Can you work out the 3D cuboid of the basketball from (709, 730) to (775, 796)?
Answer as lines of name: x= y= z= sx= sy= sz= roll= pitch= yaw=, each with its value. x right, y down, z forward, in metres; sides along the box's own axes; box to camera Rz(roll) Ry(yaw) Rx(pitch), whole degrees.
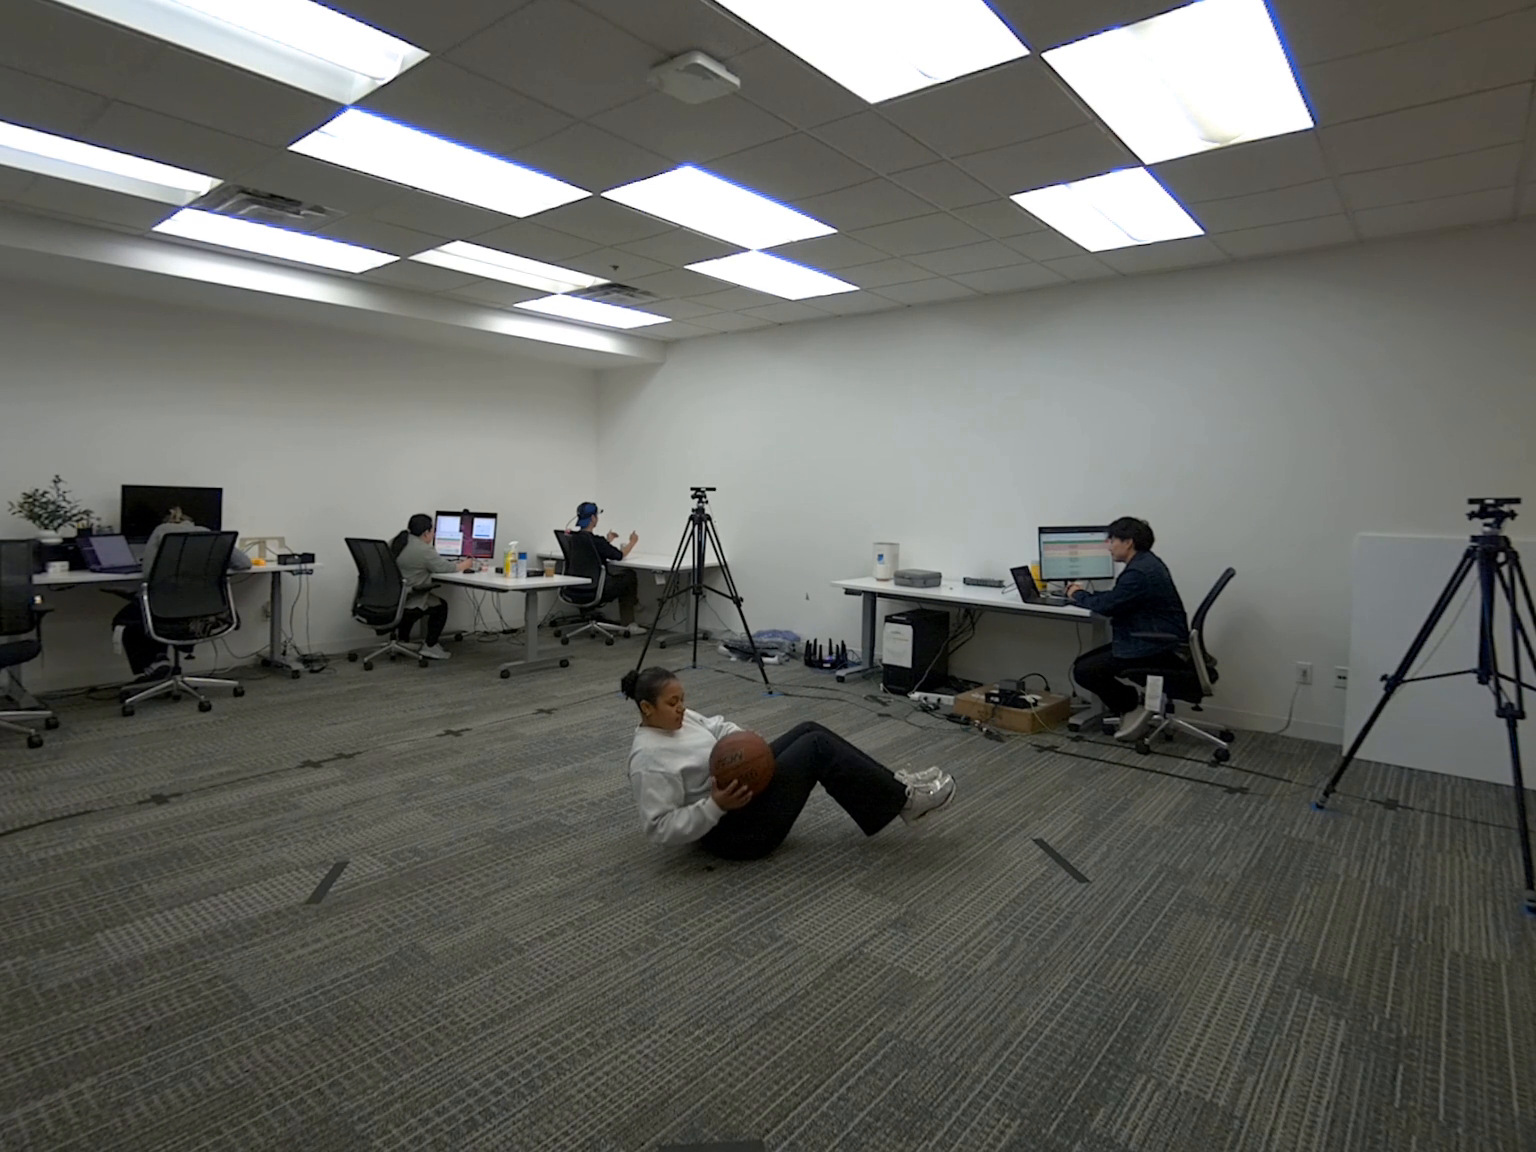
basketball: x=-0.119 y=0.687 z=3.121 sx=0.235 sy=0.235 sz=0.237 roll=1 pitch=4 yaw=-2
